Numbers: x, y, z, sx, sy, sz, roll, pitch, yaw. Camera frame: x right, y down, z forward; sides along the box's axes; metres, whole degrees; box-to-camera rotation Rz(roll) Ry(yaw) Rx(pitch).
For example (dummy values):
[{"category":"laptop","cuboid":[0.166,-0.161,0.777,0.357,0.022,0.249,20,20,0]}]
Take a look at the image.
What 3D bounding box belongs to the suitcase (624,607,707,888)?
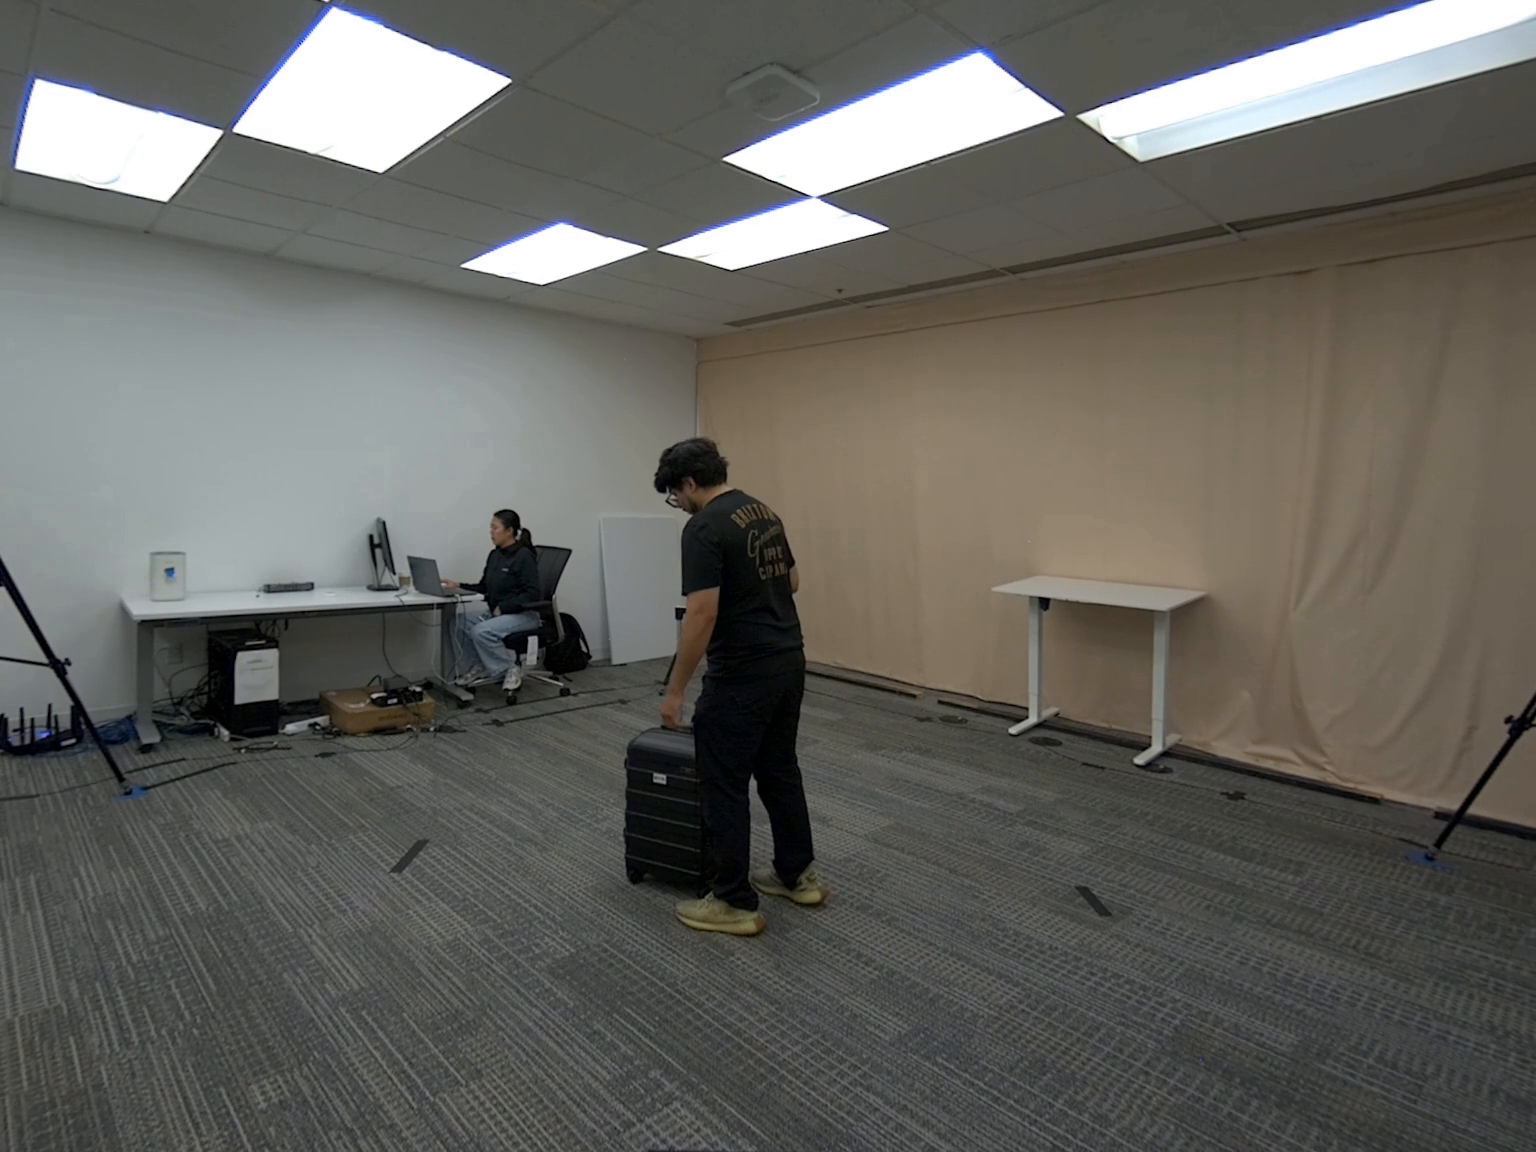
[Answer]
[{"category":"suitcase","cuboid":[-0.325,0.632,3.030,0.391,0.975,0.253,2,5,23]}]
